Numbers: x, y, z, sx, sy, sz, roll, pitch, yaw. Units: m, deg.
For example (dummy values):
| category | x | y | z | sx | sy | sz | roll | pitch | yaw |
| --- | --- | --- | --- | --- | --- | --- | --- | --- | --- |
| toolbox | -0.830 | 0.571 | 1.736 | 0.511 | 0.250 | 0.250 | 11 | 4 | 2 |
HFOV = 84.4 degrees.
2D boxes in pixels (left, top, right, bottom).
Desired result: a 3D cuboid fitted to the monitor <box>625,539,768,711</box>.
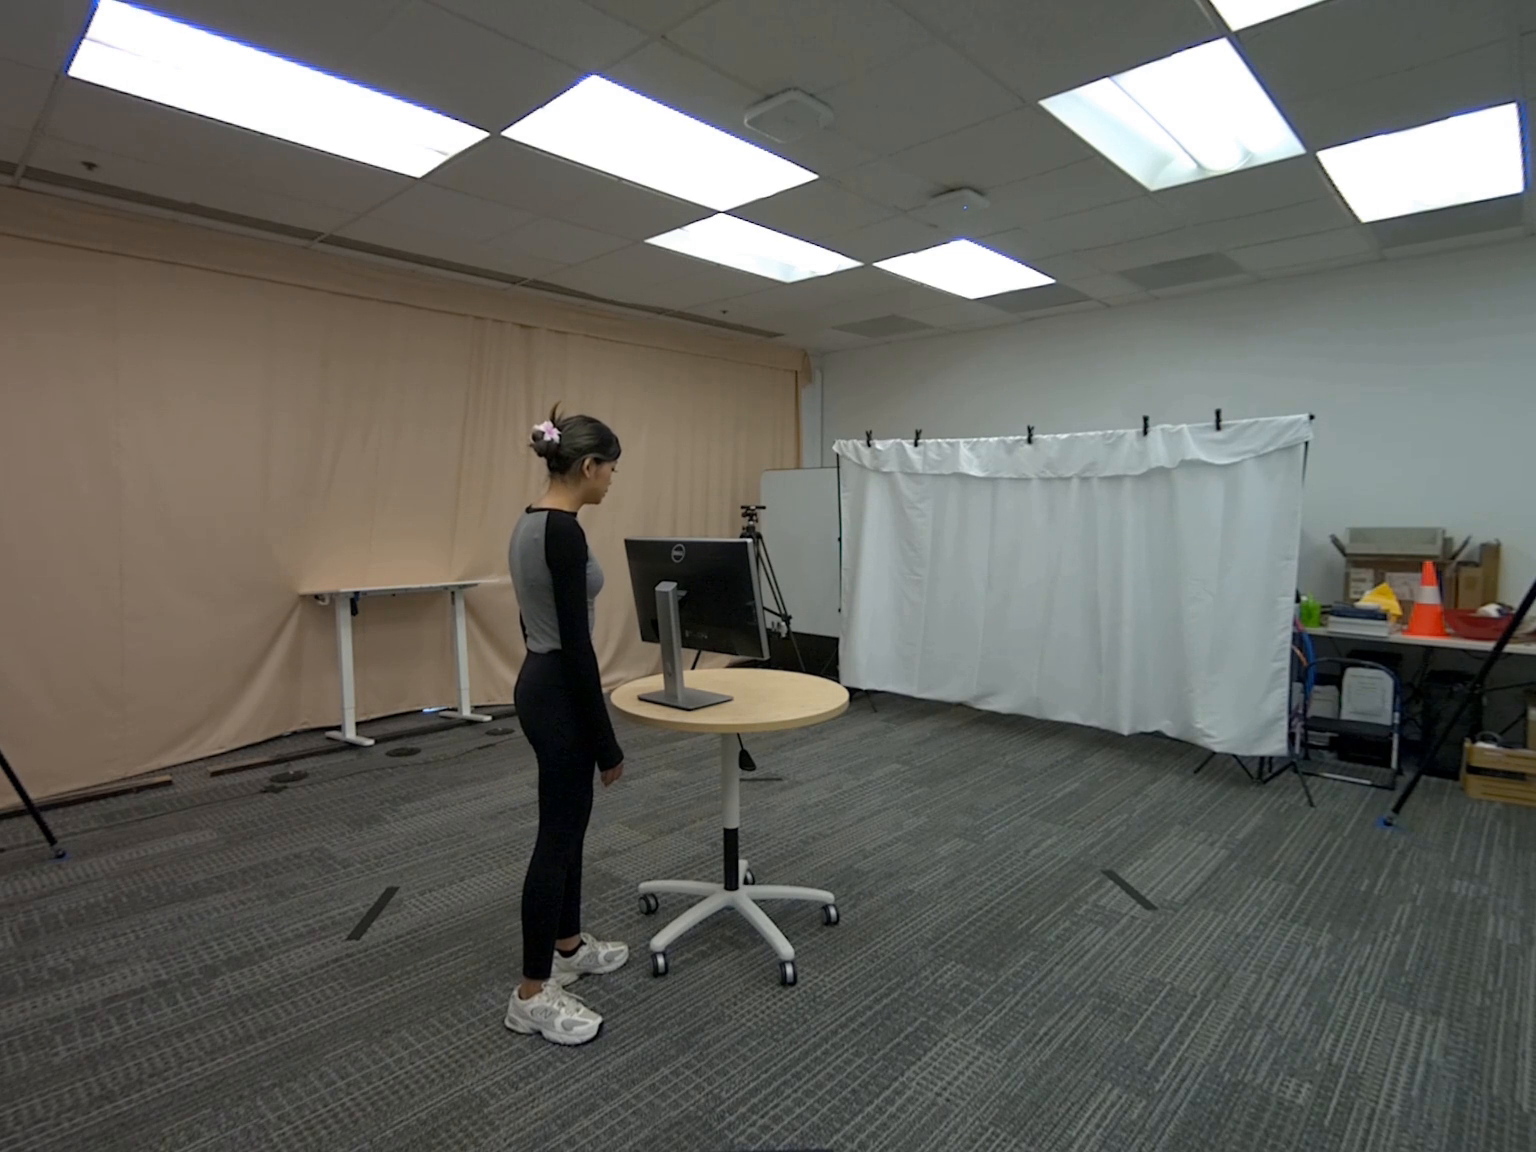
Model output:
| category | x | y | z | sx | sy | sz | roll | pitch | yaw |
| --- | --- | --- | --- | --- | --- | --- | --- | --- | --- |
| monitor | -0.259 | 0.143 | 2.618 | 0.557 | 0.522 | 0.181 | 3 | 1 | 41 |
